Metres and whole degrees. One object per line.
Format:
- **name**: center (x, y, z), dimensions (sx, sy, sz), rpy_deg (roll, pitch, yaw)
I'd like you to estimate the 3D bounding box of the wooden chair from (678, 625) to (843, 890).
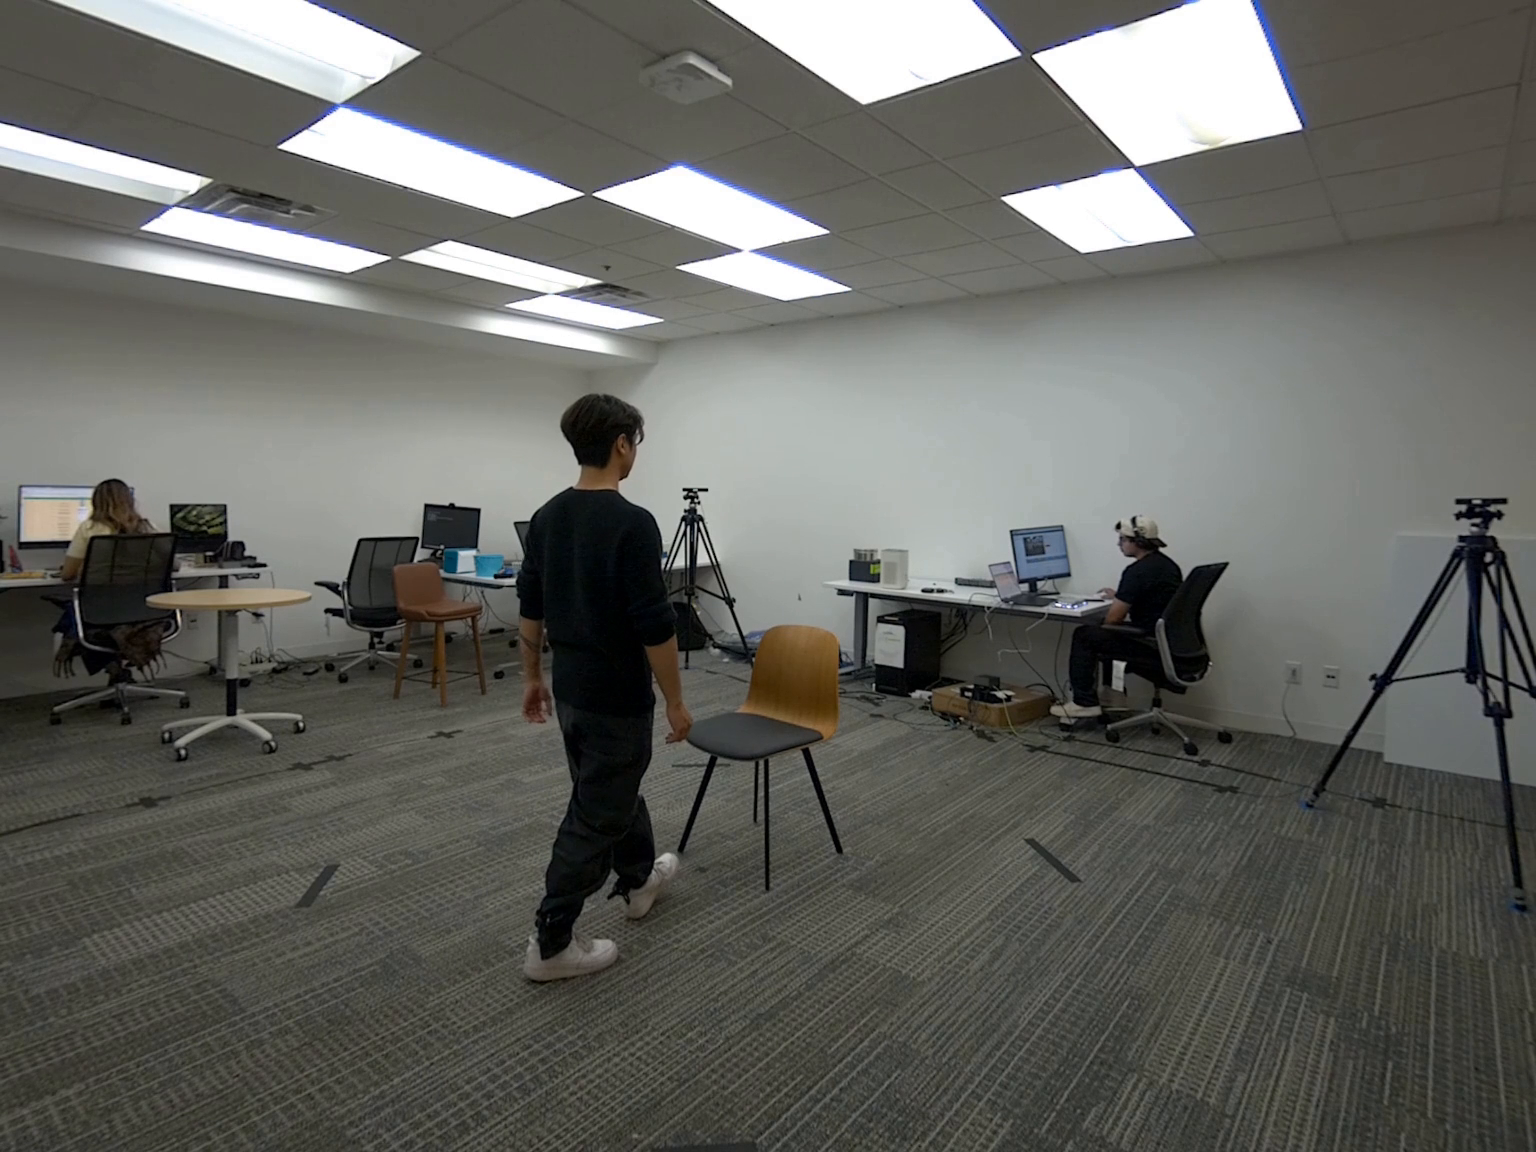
- **wooden chair**: center (-0.032, 0.633, 3.231), dimensions (0.494, 0.877, 0.506), rpy_deg (4, 0, 41)
